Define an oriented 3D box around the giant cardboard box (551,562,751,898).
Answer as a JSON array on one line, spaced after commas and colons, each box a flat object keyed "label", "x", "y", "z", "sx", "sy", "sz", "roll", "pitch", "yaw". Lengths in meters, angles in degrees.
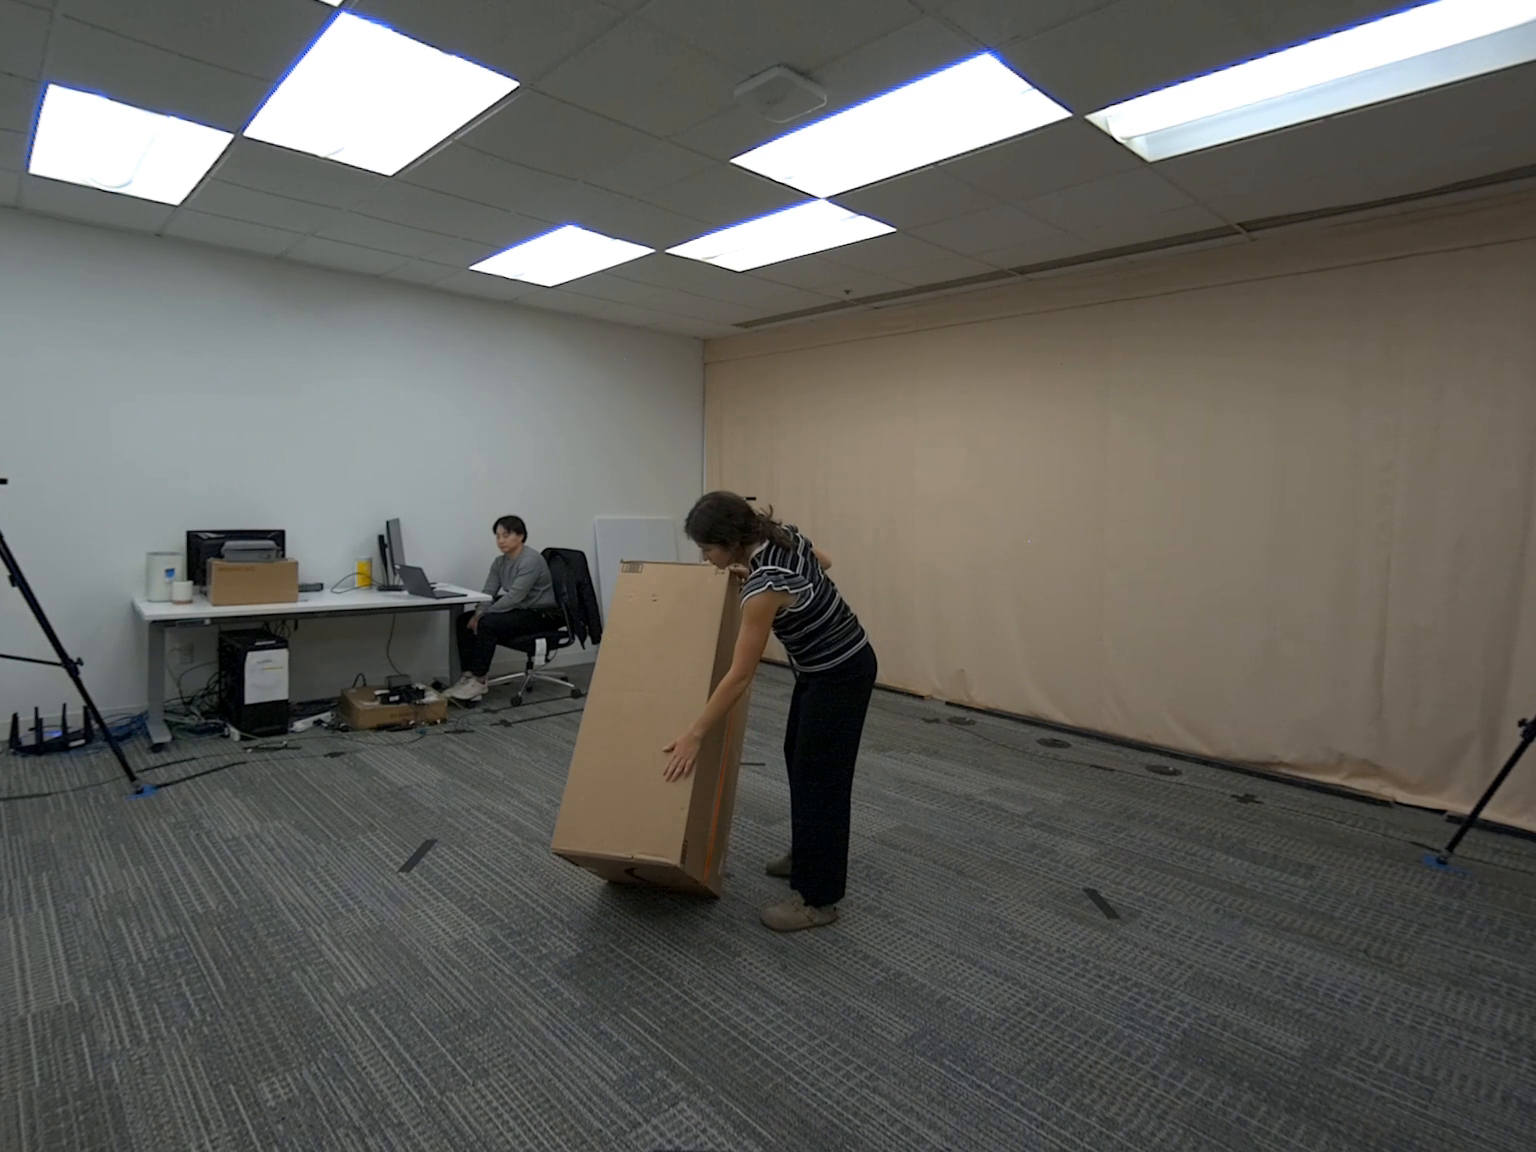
[{"label": "giant cardboard box", "x": -0.355, "y": 0.535, "z": 2.994, "sx": 0.431, "sy": 1.041, "sz": 0.563, "roll": 2, "pitch": -29, "yaw": 12}]
